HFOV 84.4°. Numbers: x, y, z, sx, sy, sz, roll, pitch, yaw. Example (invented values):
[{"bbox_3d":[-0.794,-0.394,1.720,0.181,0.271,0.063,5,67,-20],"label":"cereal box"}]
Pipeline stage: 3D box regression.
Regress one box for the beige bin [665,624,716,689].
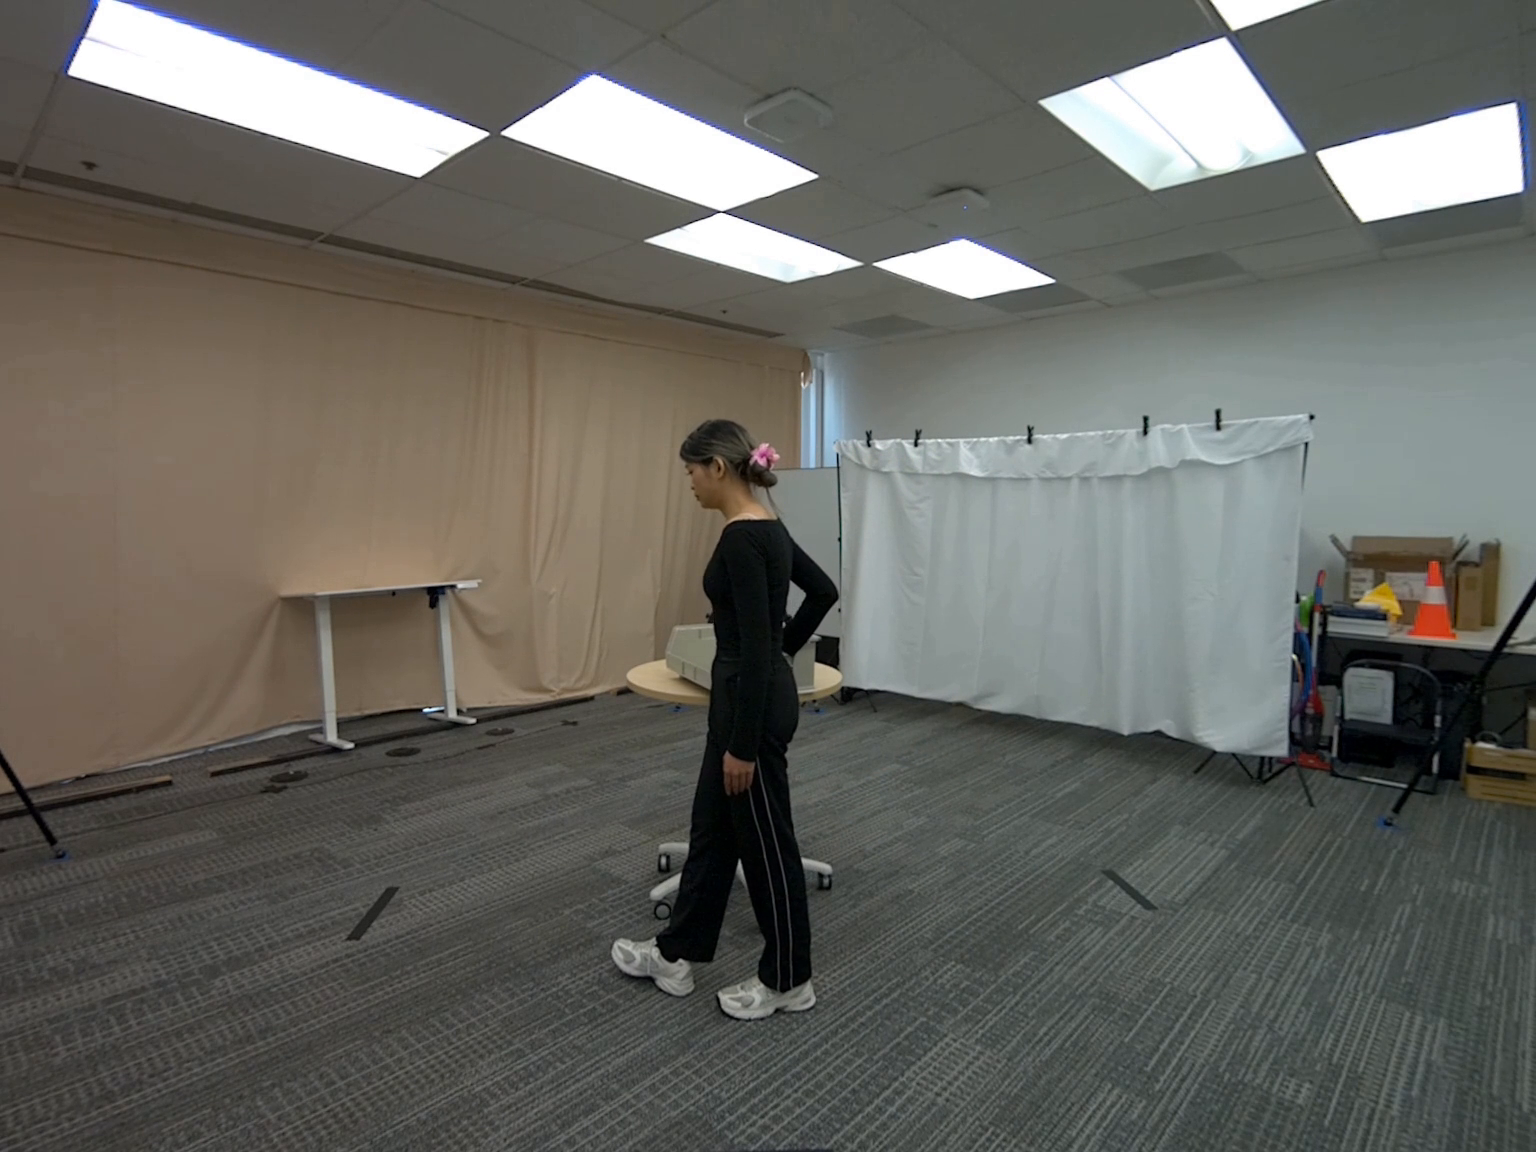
[{"bbox_3d":[-0.092,0.271,2.816,0.368,0.189,0.433,1,3,-26],"label":"beige bin"}]
